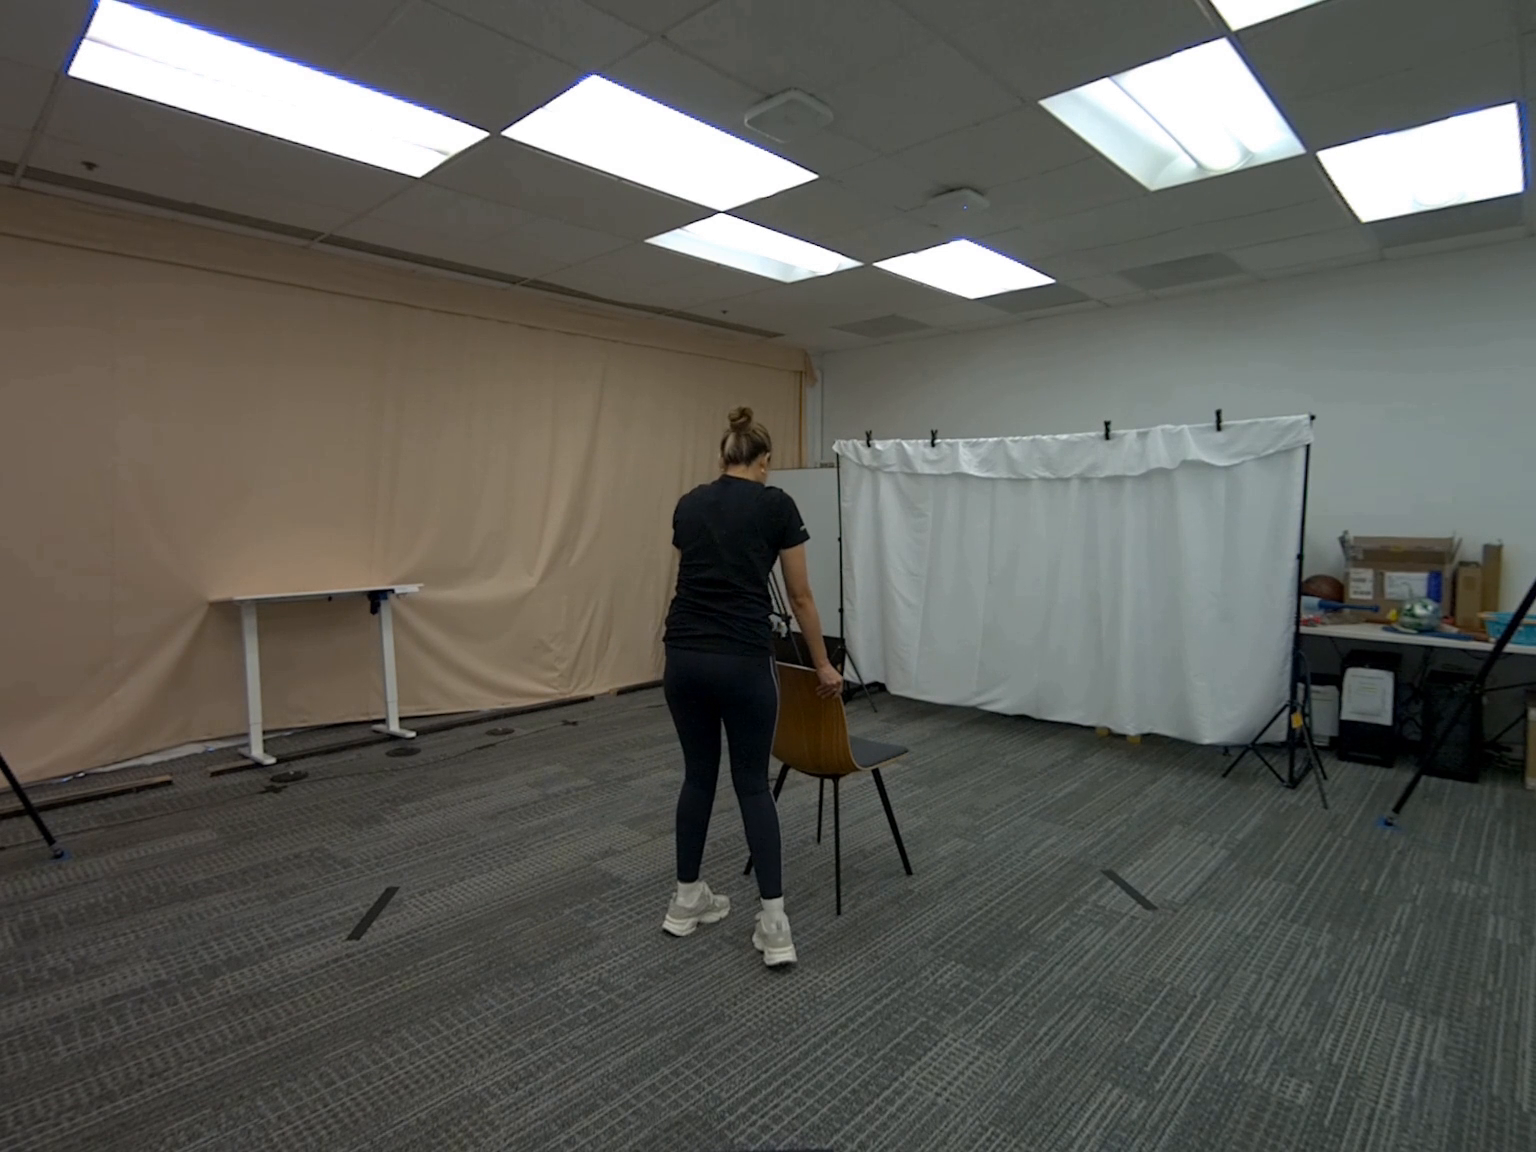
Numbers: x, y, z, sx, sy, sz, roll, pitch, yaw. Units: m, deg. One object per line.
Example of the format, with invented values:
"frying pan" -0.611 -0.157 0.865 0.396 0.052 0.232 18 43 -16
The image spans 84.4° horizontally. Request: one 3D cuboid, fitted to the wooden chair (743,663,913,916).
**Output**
"wooden chair" 0.234 0.701 3.151 0.494 0.873 0.508 3 9 44
